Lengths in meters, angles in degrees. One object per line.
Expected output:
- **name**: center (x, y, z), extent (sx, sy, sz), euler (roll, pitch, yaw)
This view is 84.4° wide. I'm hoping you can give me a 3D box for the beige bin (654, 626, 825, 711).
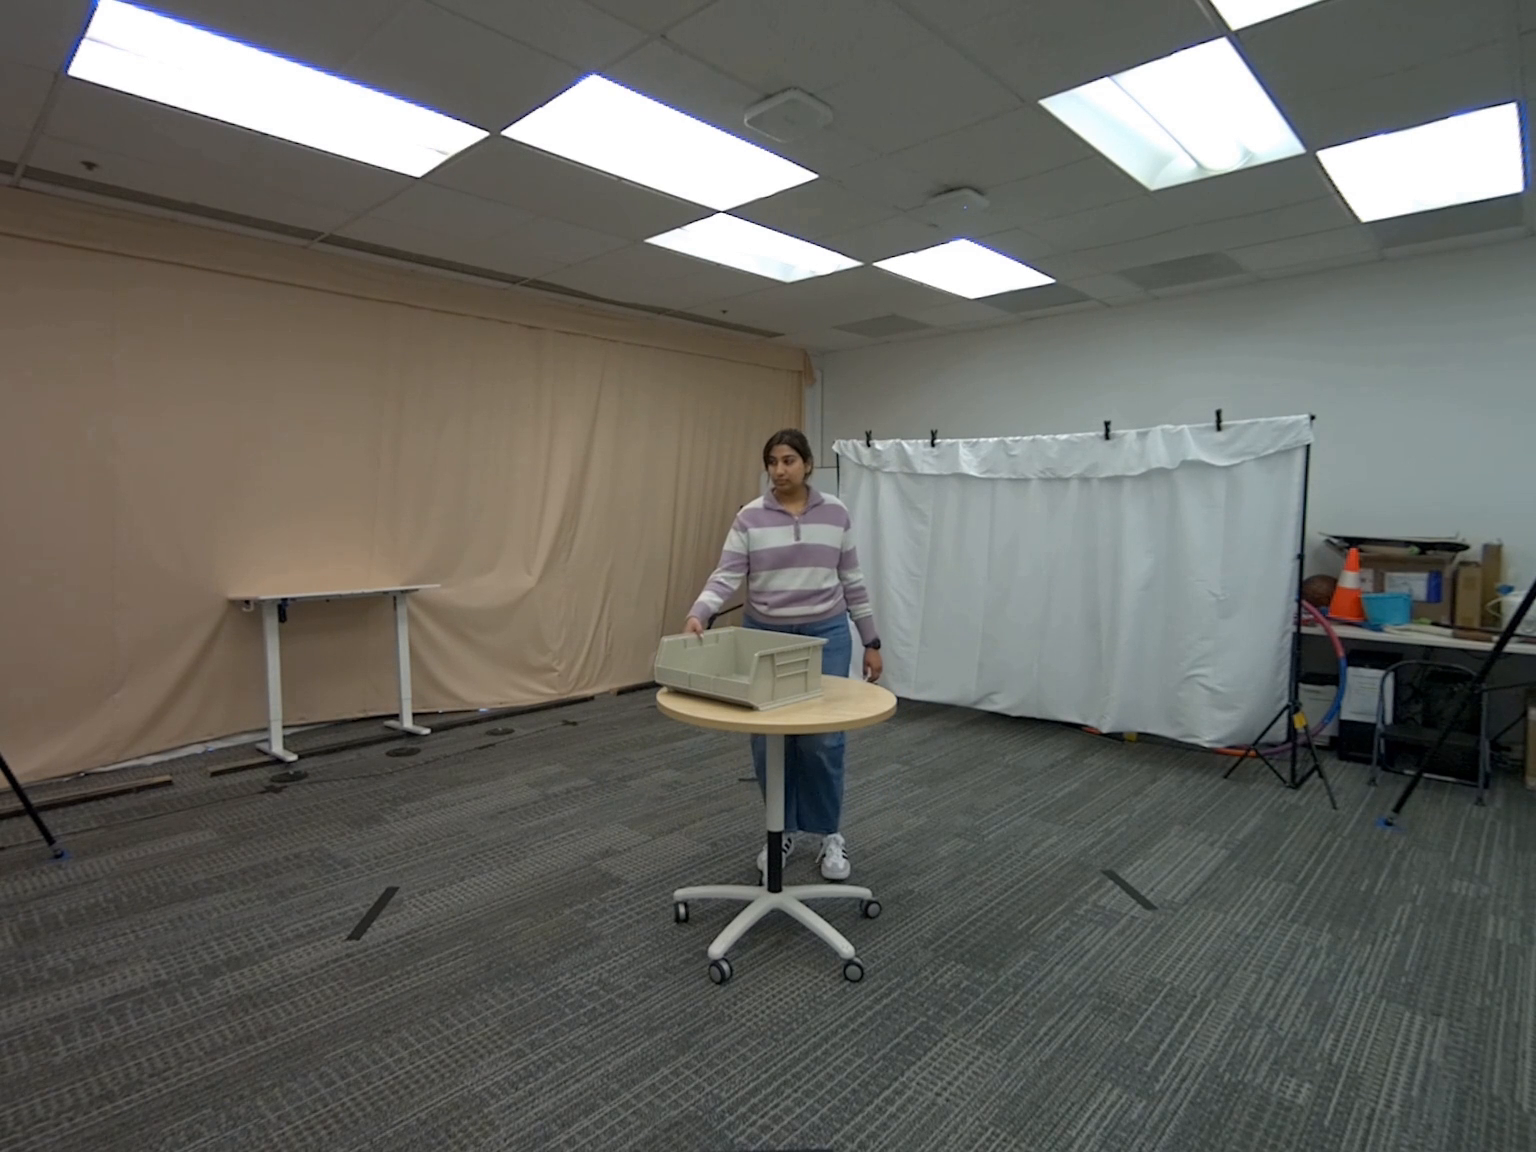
- **beige bin**: center (-0.090, 0.288, 2.718), extent (0.436, 0.189, 0.365), euler (2, 2, 43)
